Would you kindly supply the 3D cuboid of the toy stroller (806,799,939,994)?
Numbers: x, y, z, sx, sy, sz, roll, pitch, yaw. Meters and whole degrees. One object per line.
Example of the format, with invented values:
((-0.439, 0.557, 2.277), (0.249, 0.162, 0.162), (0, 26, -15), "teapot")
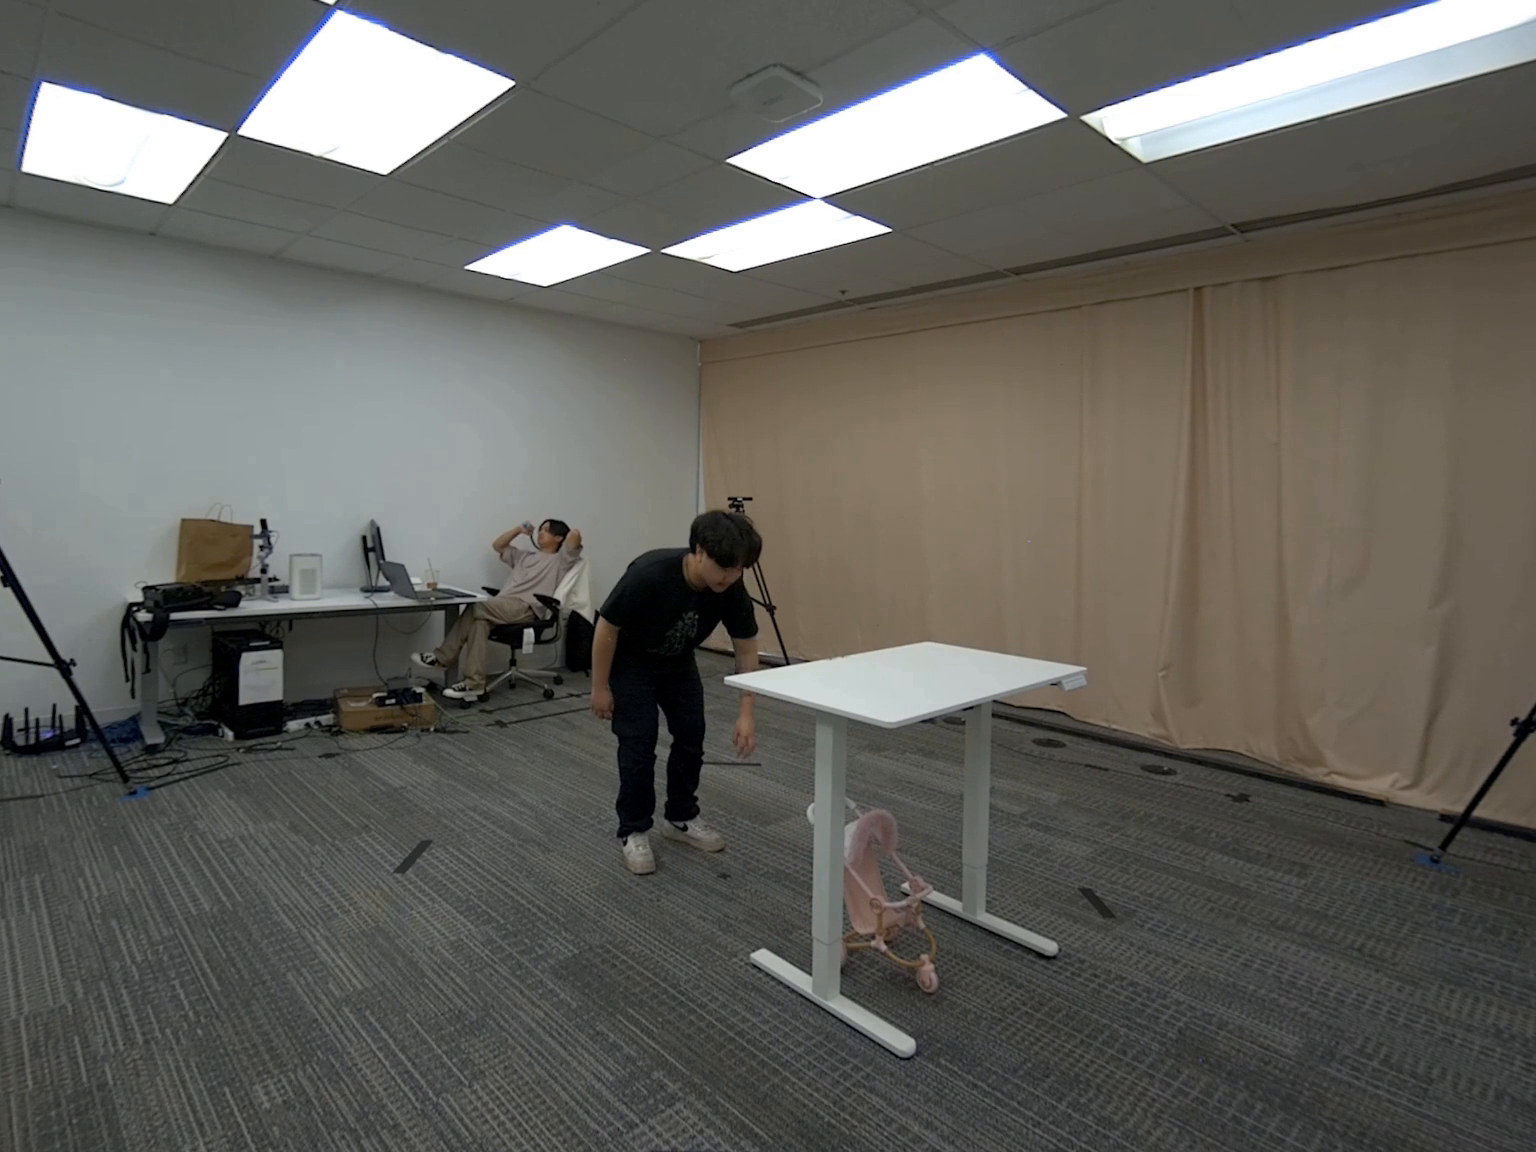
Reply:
((0.324, 0.947, 2.530), (0.275, 0.539, 0.346), (-2, -11, -40), "toy stroller")
